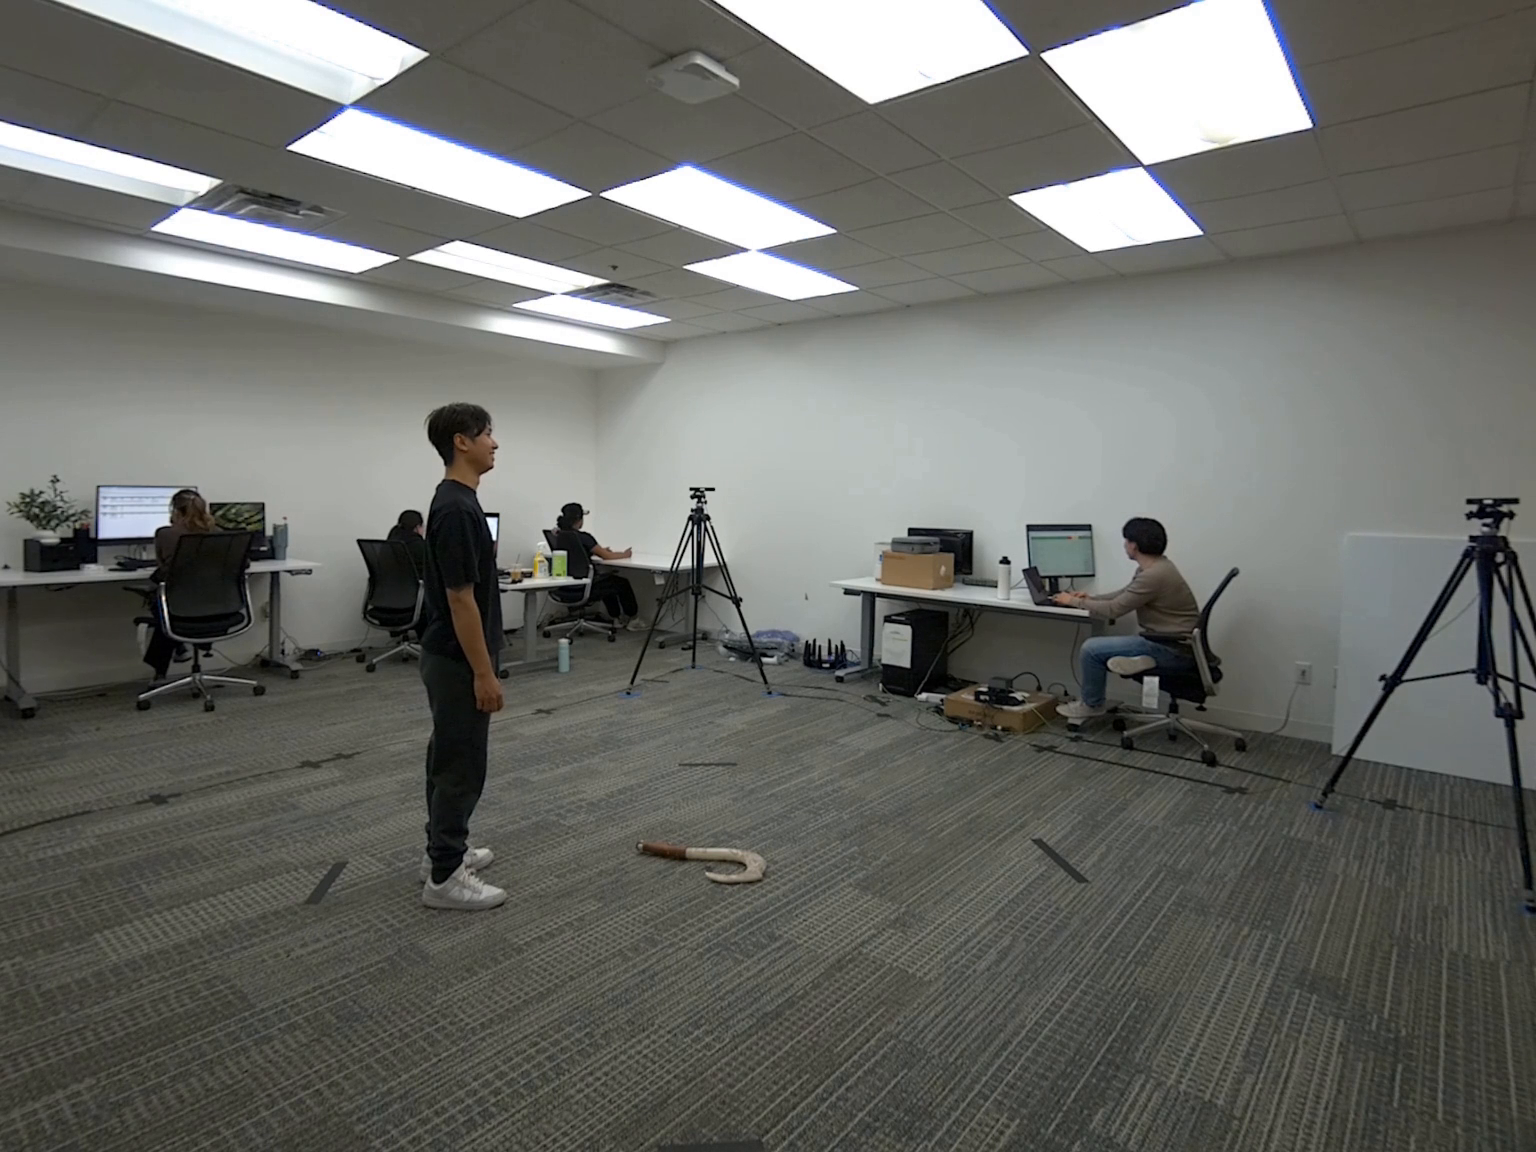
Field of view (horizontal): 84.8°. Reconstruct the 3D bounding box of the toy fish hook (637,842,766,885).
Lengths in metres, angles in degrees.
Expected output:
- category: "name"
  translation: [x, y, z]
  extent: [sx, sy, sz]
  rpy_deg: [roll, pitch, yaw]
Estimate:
- category: "toy fish hook"
  translation: [-0.270, 1.044, 3.119]
  extent: [0.515, 0.048, 0.221]
  rpy_deg: [2, 4, 14]
